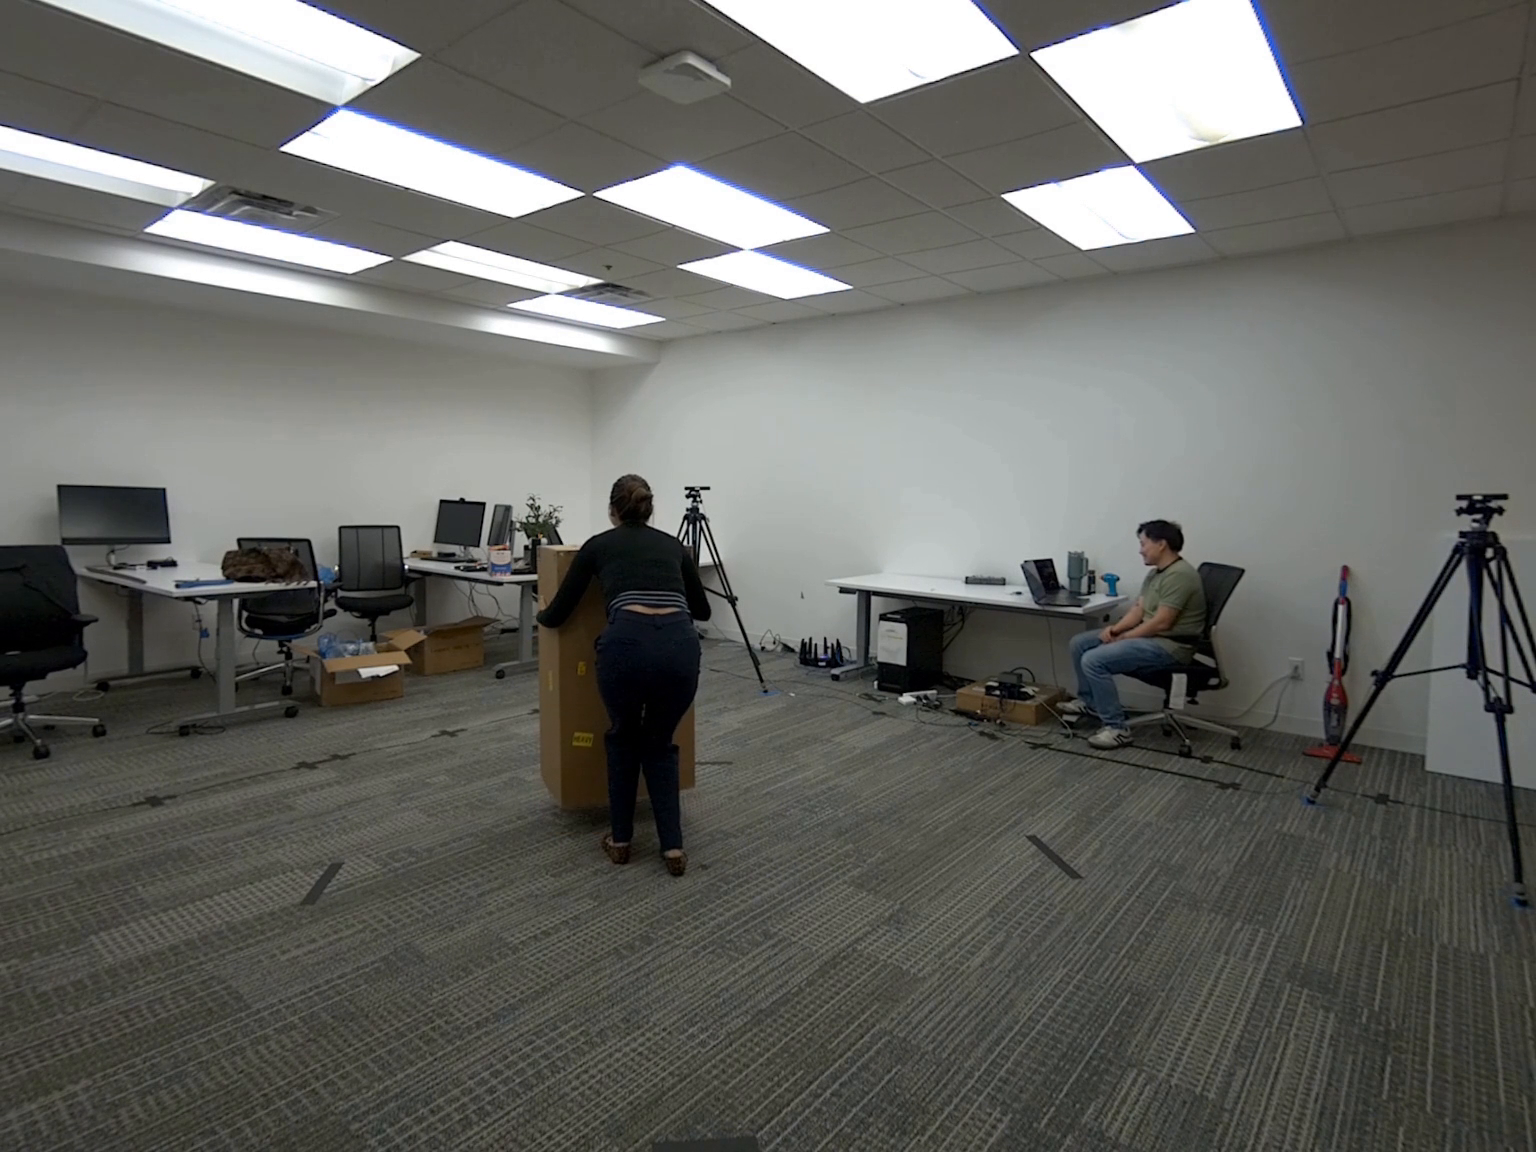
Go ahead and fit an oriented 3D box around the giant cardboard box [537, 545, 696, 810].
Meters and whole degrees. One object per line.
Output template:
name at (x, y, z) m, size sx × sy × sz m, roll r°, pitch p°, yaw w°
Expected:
giant cardboard box at (-0.665, 0.382, 3.632) m, size 0.565 × 1.023 × 0.436 m, roll -2°, pitch 3°, yaw -23°
